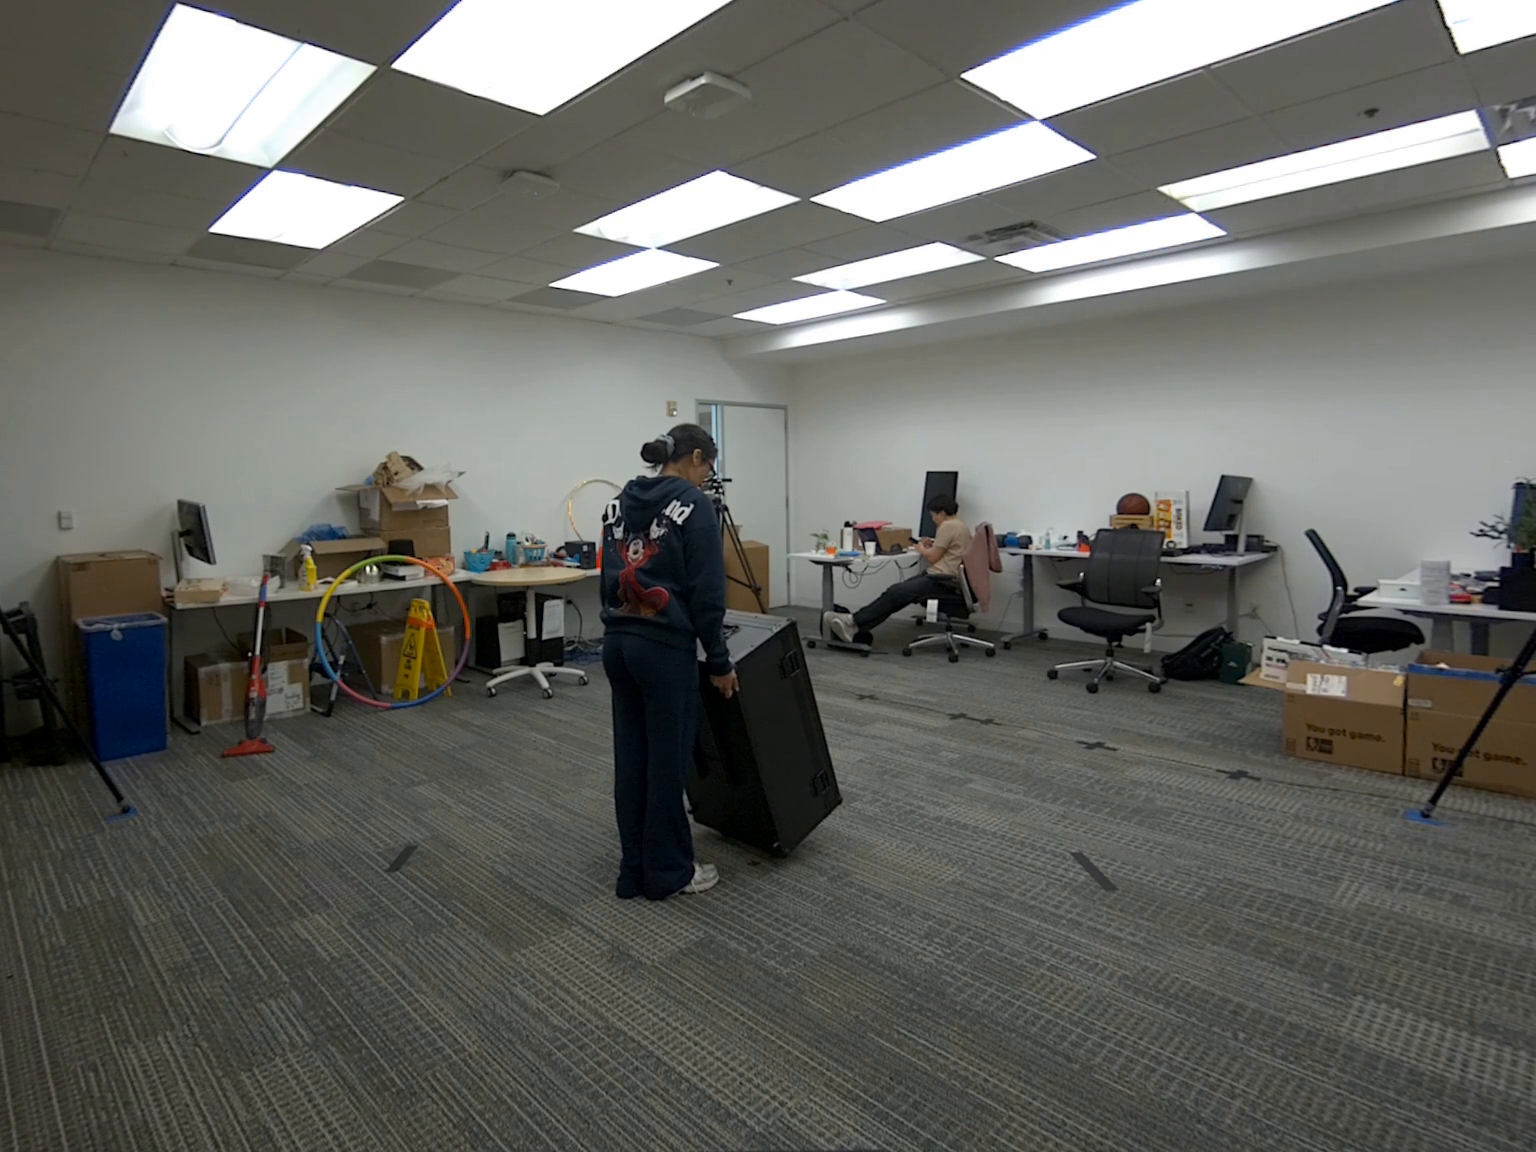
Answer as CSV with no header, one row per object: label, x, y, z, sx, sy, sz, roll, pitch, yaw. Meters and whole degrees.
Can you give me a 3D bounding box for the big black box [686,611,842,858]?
big black box,-0.087,0.599,3.204,0.537,0.845,0.392,4,25,44
